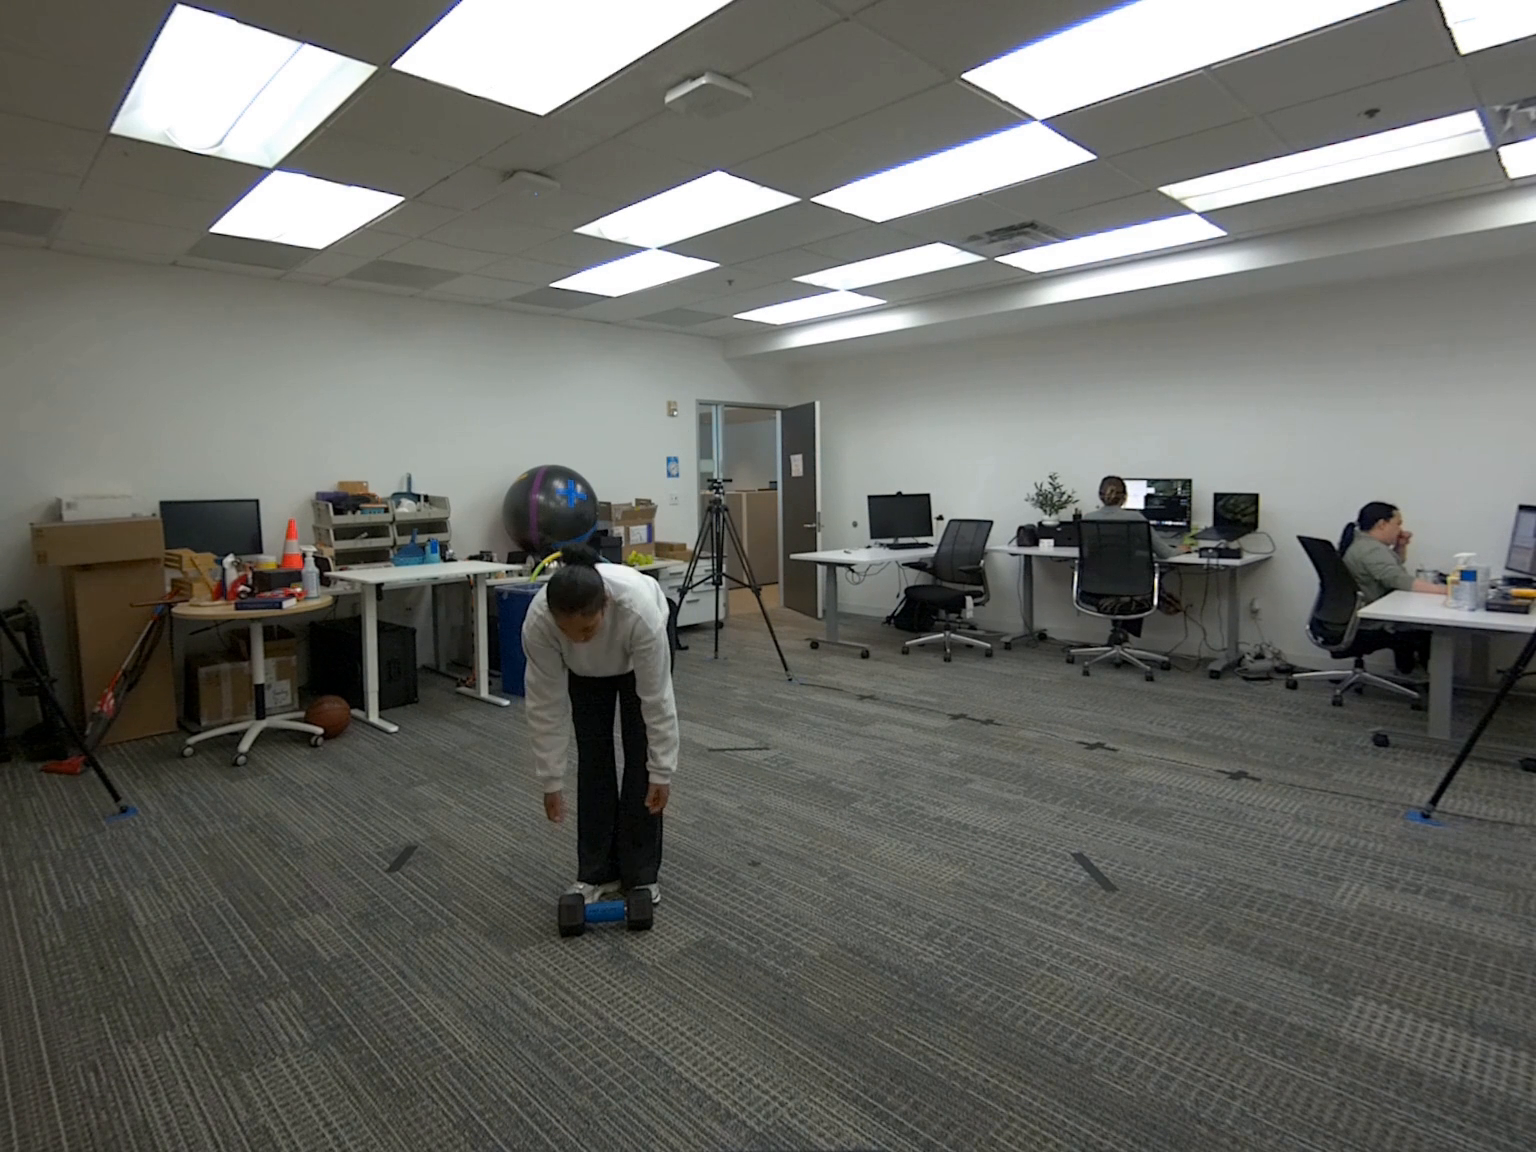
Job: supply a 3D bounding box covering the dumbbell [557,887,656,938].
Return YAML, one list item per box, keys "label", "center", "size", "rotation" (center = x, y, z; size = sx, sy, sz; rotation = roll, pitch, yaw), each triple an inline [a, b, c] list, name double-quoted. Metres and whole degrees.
- label: "dumbbell"
  center: [-0.510, 1.058, 2.675]
  size: [0.291, 0.120, 0.112]
  rotation: [-2, 37, -7]
